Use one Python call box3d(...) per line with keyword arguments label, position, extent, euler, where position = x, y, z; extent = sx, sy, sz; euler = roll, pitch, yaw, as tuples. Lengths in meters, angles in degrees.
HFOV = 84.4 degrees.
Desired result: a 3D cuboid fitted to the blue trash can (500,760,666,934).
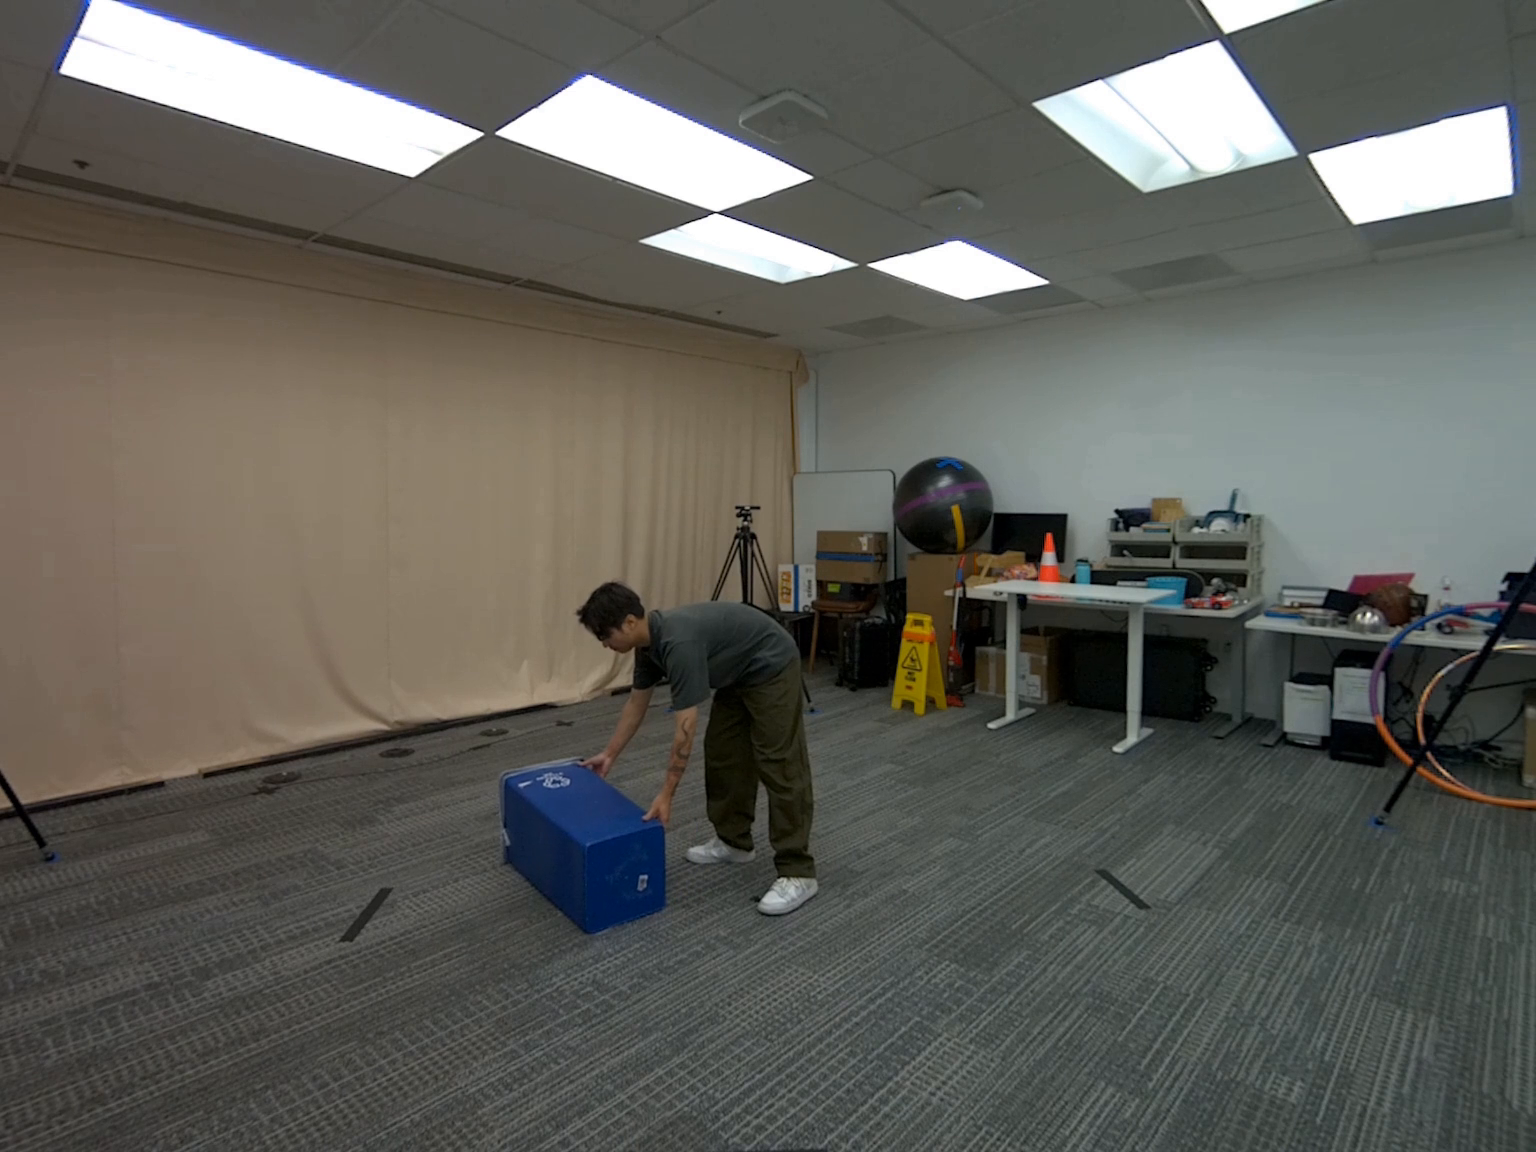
box3d(label="blue trash can", position=(-0.687, 0.969, 3.099), extent=(0.367, 0.373, 0.737), euler=(-4, 7, -36))
